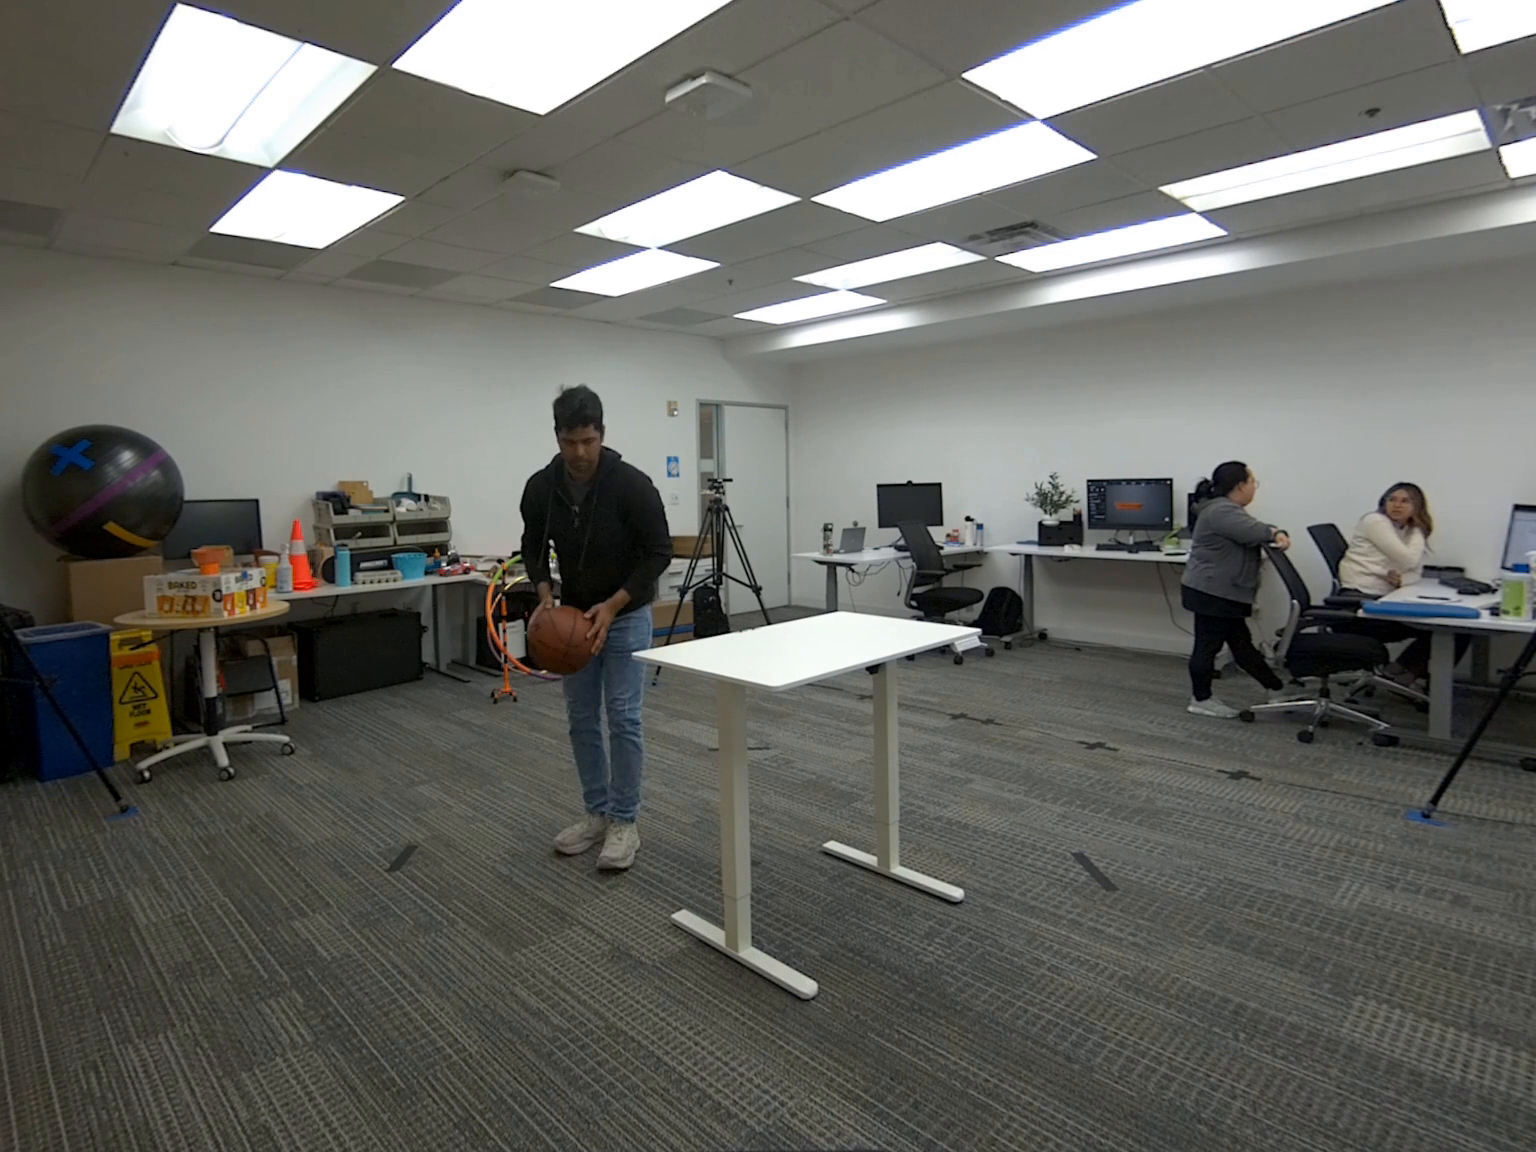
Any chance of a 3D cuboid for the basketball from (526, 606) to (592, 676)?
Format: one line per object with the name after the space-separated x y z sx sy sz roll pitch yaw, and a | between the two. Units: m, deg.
-0.711 0.227 2.968 0.236 0.235 0.237 -1 5 -2 | basketball
